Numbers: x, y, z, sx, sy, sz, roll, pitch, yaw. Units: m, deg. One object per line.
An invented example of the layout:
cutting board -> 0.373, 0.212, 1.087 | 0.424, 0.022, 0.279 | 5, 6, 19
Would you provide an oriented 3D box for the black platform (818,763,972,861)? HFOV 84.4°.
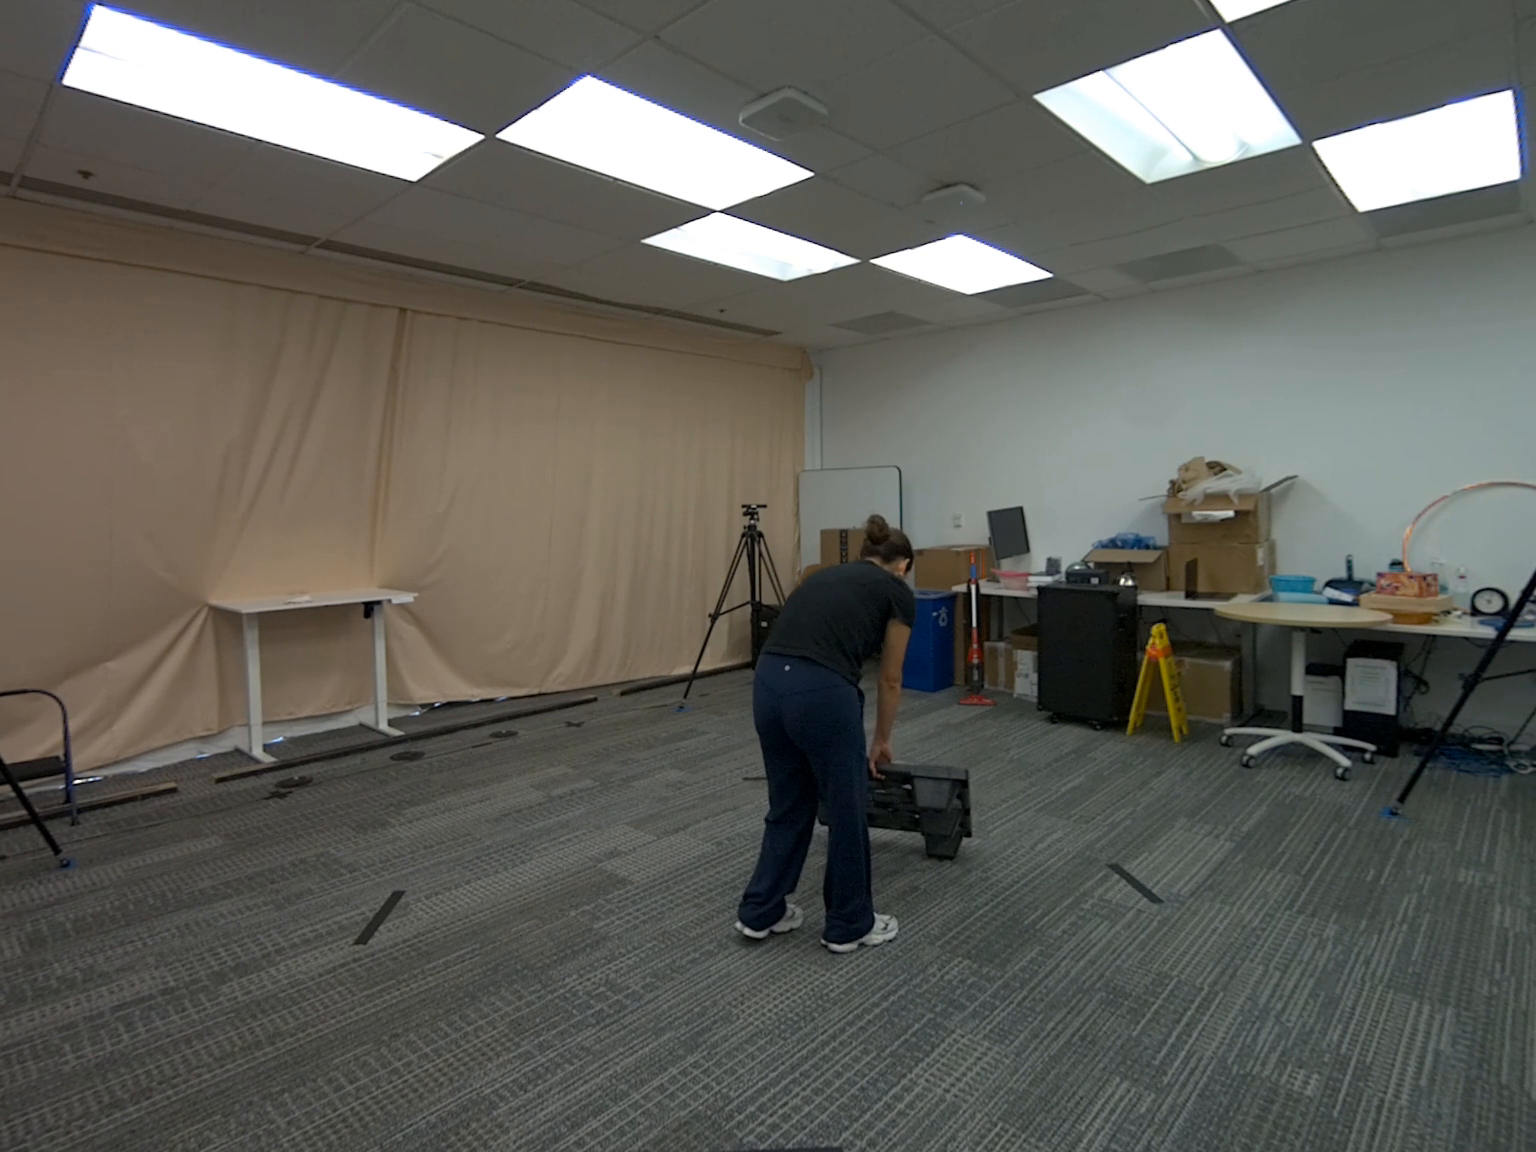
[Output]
black platform -> 0.438, 0.863, 3.085 | 0.616, 0.145, 0.783 | 2, -30, 16
